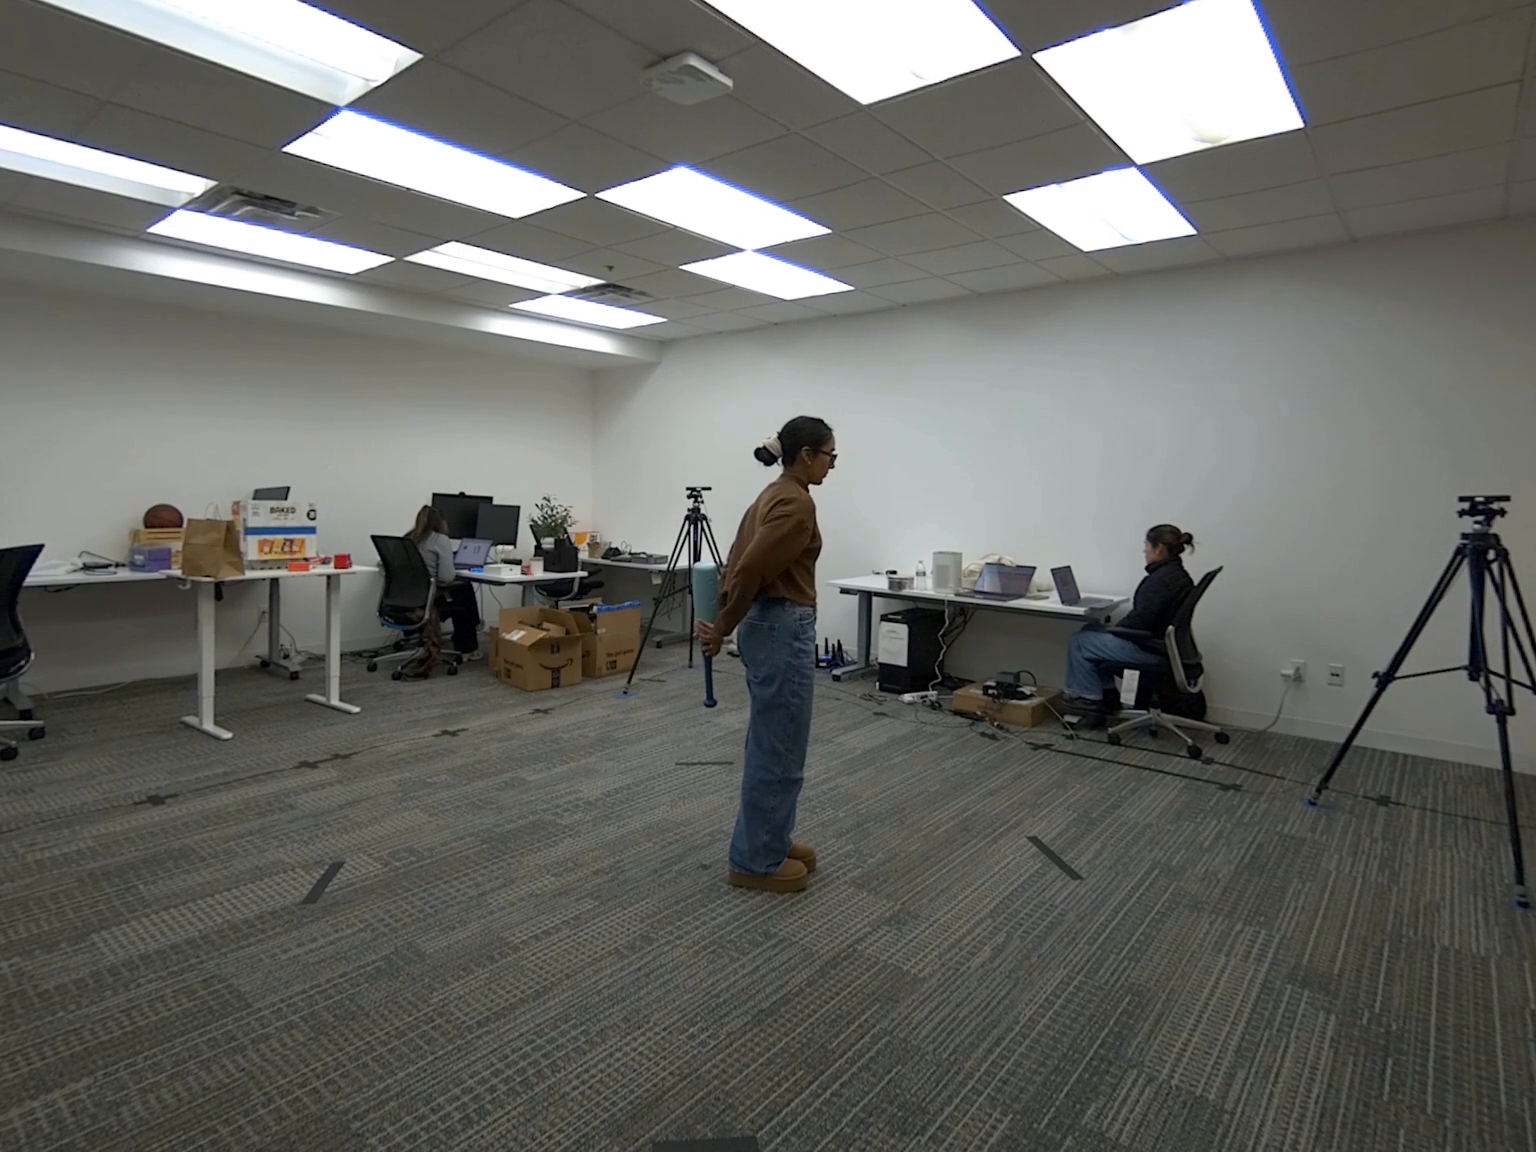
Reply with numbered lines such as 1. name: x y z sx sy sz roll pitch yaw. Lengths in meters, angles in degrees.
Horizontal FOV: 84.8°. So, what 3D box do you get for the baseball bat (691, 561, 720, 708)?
1. baseball bat: -0.223 0.213 2.976 0.089 0.534 0.090 -2 16 -1
